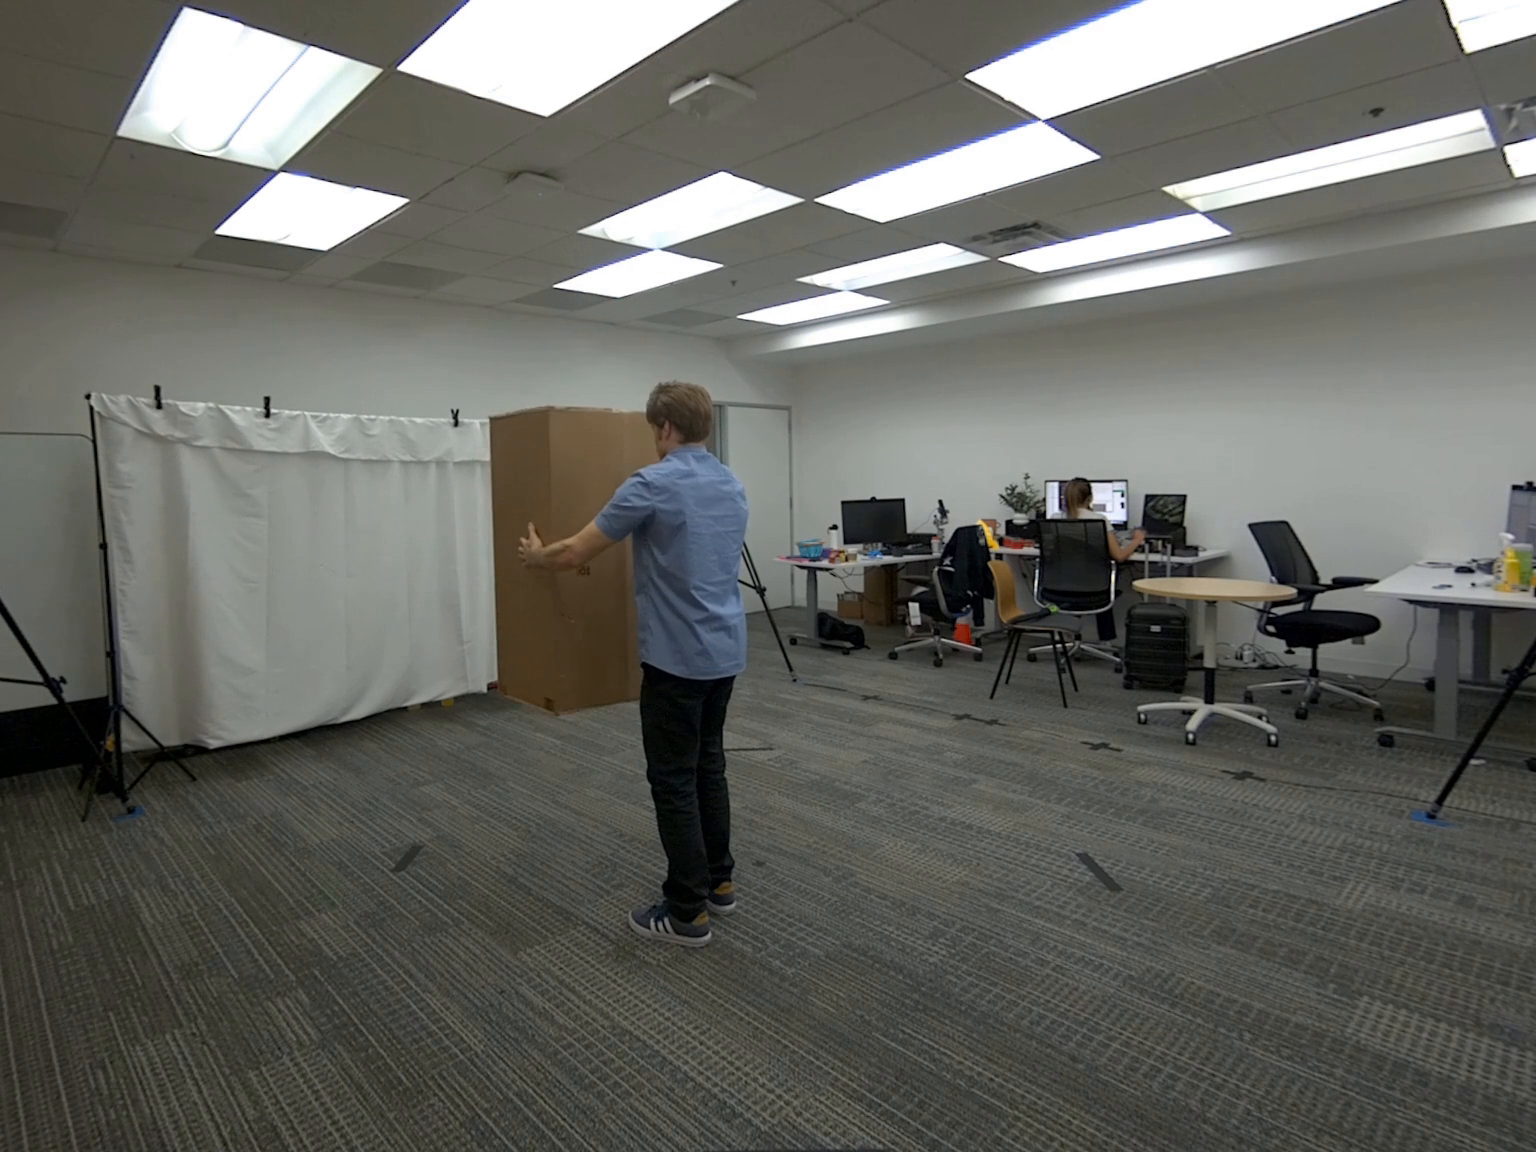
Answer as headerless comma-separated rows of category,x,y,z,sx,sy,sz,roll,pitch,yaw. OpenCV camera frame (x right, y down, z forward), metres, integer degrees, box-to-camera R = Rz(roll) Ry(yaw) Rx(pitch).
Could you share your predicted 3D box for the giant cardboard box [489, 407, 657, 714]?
giant cardboard box,-0.651,-0.081,3.133,0.562,1.023,0.439,-4,4,-43
